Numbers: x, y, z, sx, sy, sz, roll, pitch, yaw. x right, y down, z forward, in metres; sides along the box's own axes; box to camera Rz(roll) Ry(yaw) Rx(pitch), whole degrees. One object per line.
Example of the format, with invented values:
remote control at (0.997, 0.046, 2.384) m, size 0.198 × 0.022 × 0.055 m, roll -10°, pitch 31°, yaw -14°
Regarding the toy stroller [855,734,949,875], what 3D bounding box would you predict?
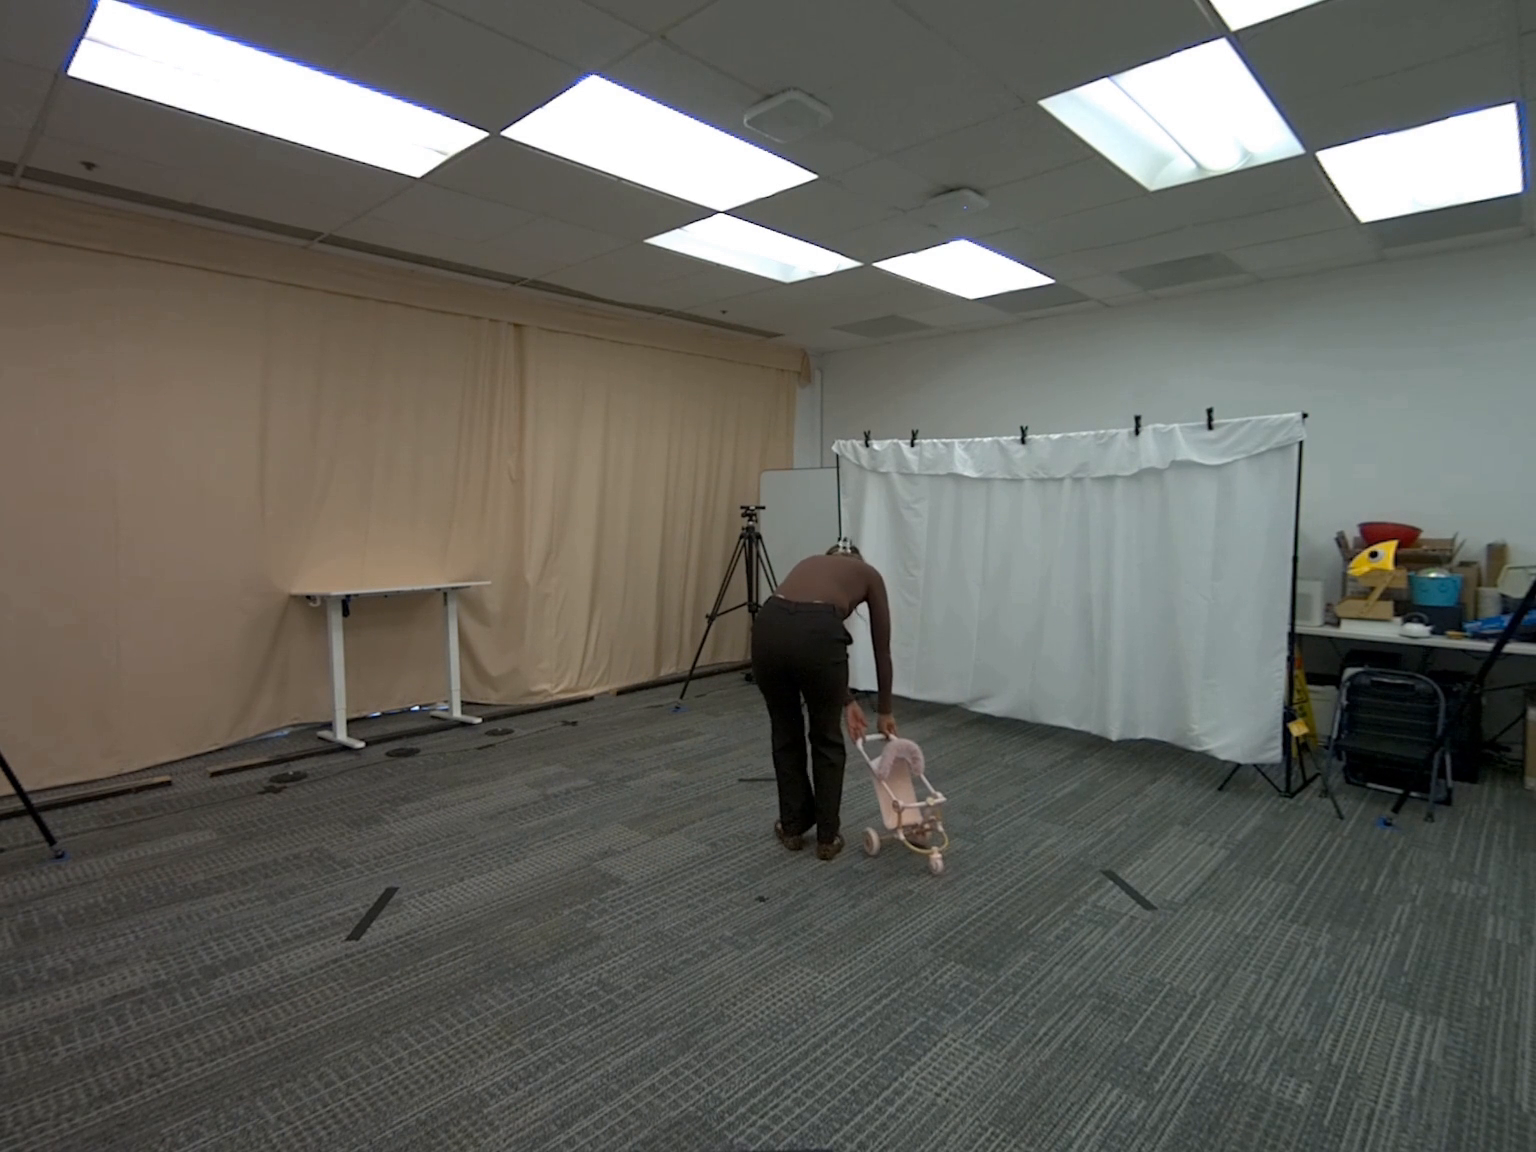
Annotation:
toy stroller at (0.546, 0.885, 3.343) m, size 0.275 × 0.540 × 0.345 m, roll -2°, pitch -14°, yaw -22°
